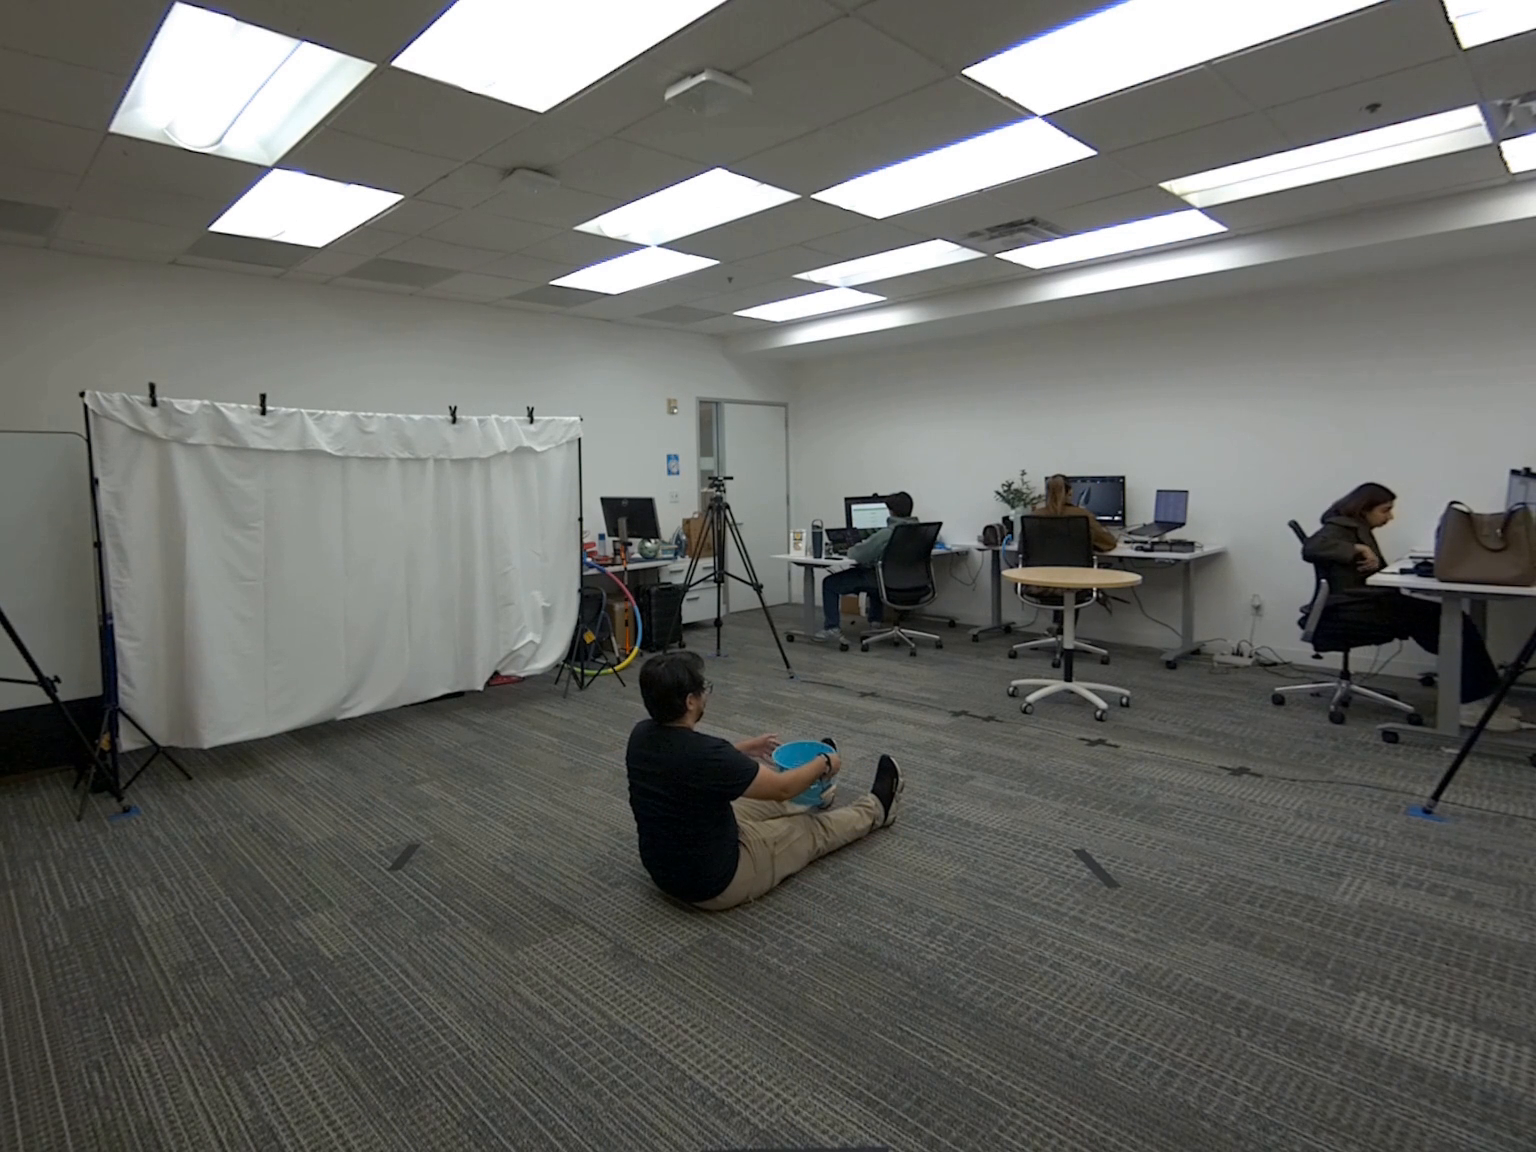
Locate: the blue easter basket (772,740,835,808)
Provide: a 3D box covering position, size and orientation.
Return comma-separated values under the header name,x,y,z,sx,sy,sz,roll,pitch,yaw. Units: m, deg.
name,x,y,z,sx,sy,sz,roll,pitch,yaw
blue easter basket,0.142,0.728,3.113,0.243,0.154,0.246,-5,12,-1
